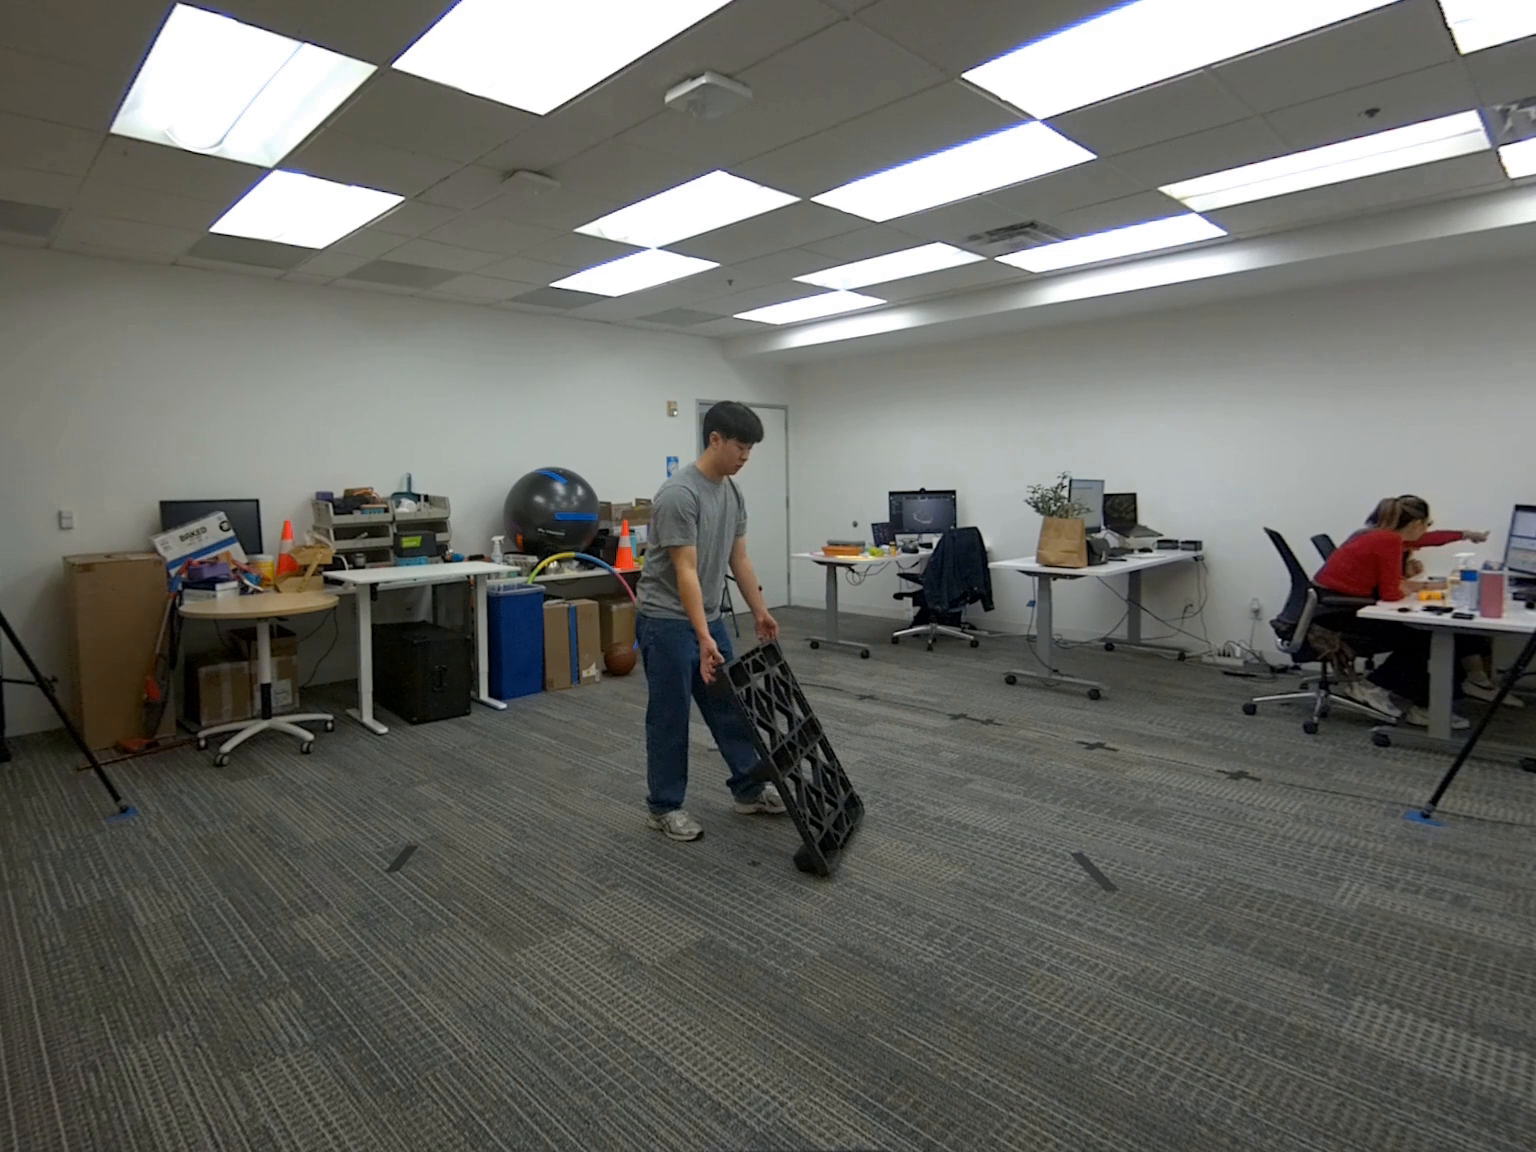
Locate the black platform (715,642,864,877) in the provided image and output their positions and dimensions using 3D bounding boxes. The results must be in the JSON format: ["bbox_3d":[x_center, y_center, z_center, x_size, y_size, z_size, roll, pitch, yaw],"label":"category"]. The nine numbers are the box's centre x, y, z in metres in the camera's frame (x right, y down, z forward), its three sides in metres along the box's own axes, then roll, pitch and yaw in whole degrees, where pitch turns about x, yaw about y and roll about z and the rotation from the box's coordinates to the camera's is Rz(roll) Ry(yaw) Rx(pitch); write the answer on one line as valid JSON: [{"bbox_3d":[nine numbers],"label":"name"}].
[{"bbox_3d":[0.066,0.677,3.271,0.144,0.812,0.596,-31,-6,20],"label":"black platform"}]
